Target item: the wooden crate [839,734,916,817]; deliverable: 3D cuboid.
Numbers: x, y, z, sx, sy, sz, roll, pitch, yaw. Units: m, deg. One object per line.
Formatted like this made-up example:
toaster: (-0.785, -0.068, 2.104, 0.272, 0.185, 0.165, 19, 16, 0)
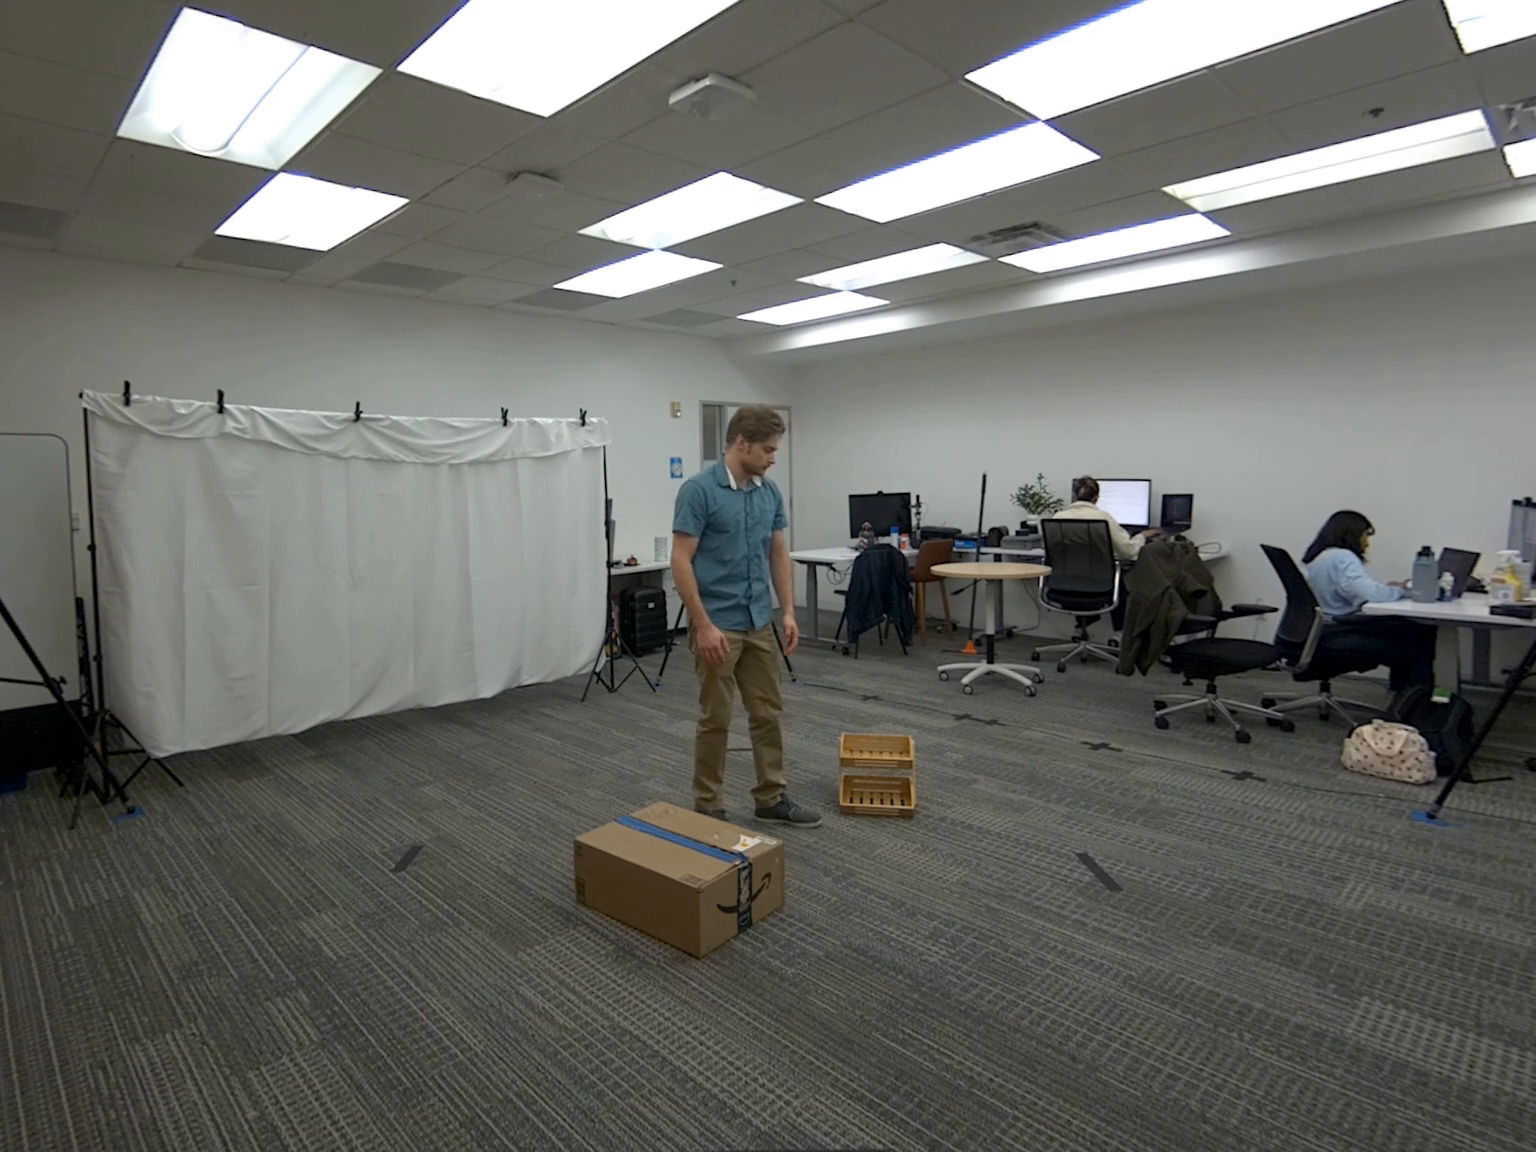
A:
wooden crate: (0.467, 0.842, 3.649, 0.327, 0.272, 0.300, 0, 4, 8)
